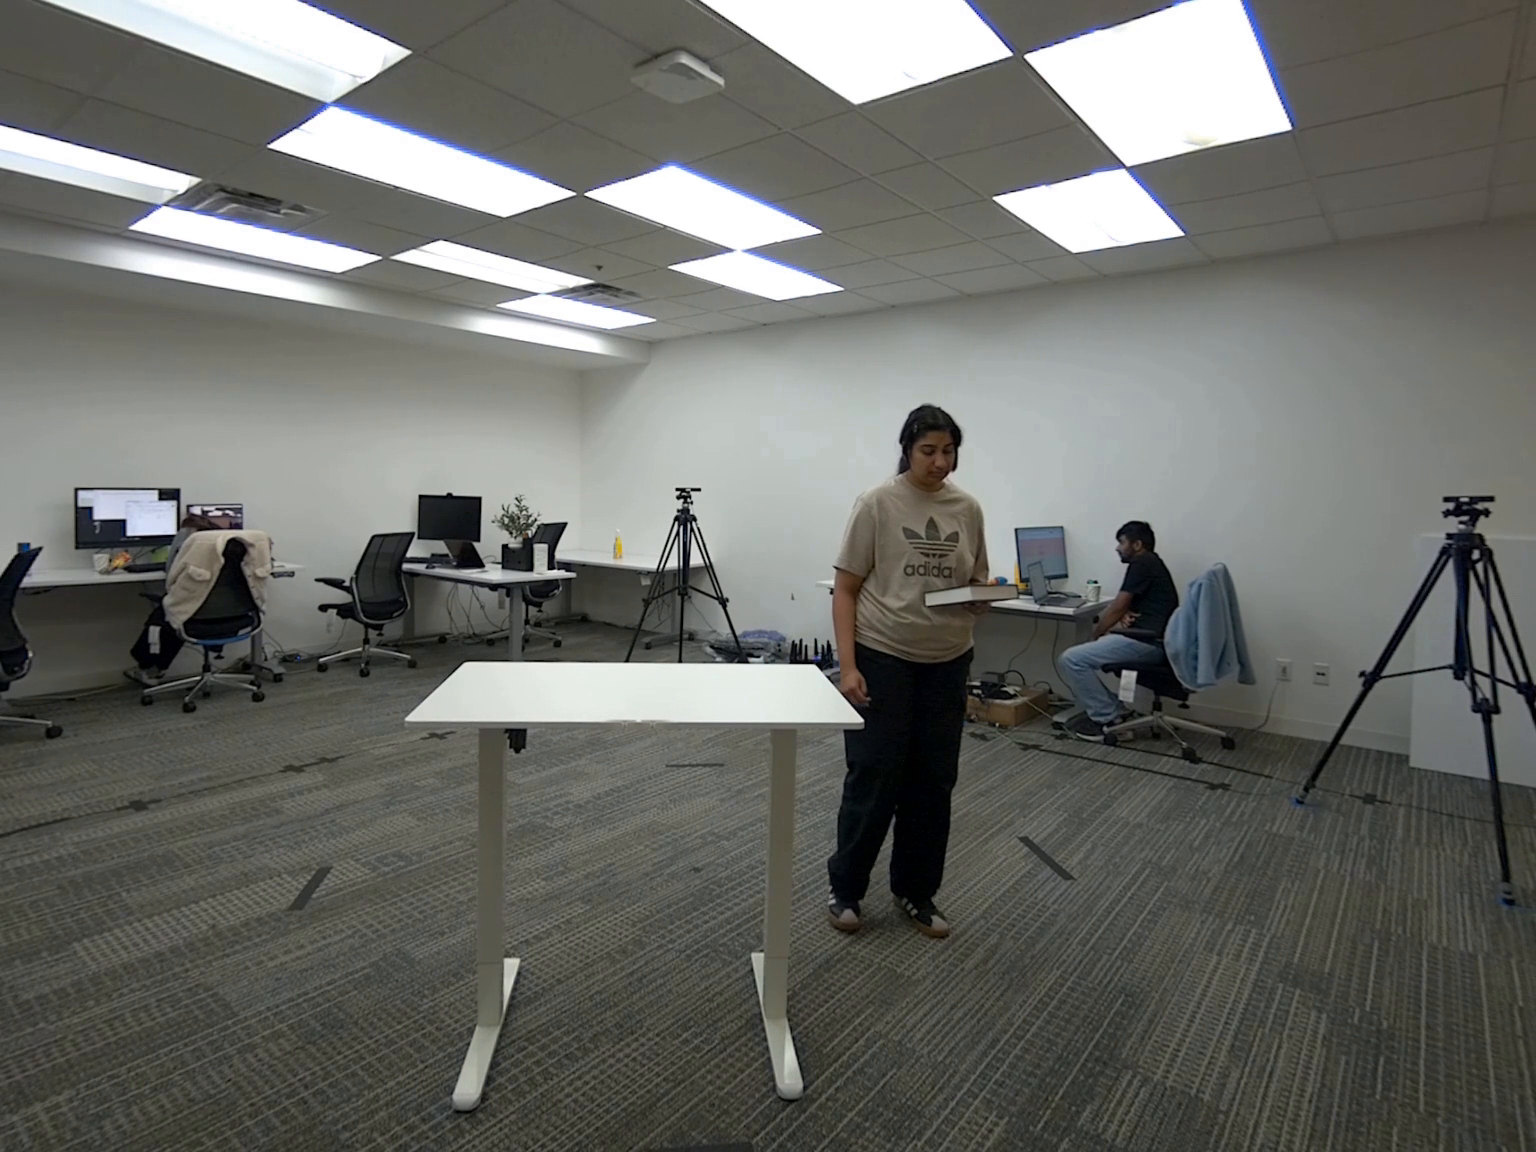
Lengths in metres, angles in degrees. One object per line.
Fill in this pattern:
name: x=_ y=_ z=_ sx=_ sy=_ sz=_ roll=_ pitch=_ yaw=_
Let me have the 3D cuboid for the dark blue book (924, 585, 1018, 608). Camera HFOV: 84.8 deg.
dark blue book: x=0.589 y=0.052 z=2.513 sx=0.160 sy=0.045 sz=0.248 roll=3 pitch=-7 yaw=-21
